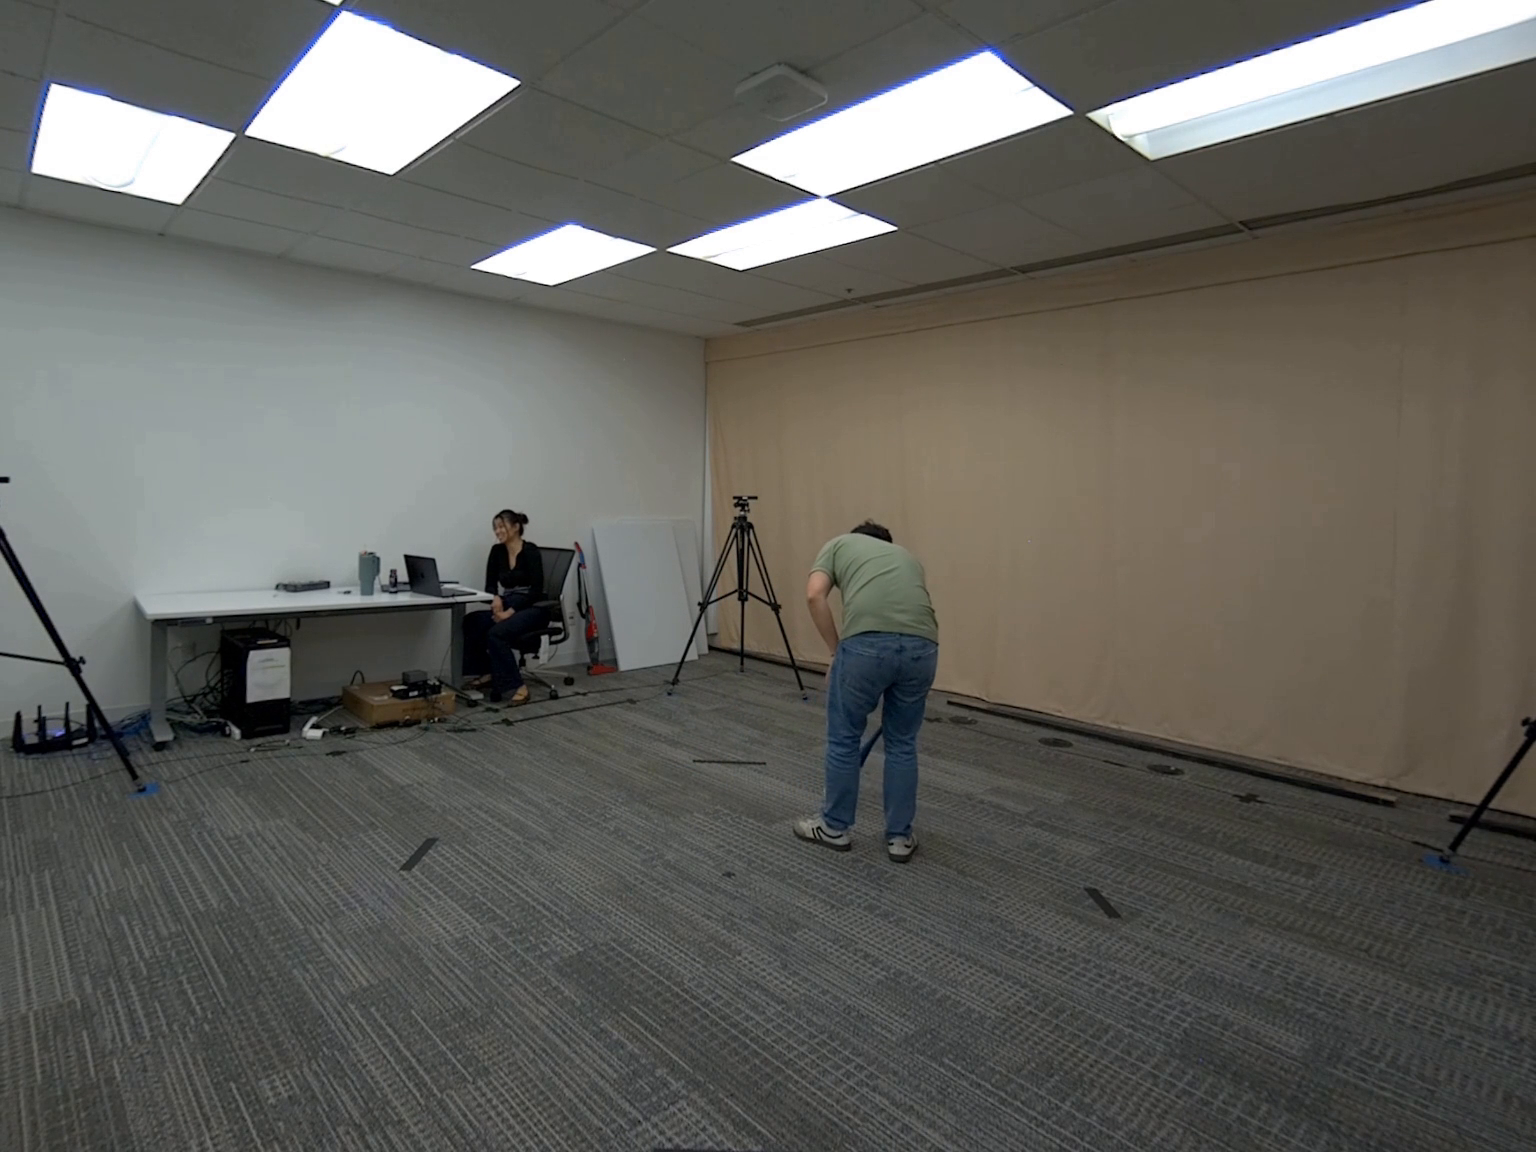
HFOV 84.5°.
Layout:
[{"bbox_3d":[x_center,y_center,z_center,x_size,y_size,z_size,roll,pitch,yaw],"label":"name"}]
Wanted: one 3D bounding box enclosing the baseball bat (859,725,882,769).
[{"bbox_3d":[0.404,0.823,3.786,0.088,0.540,0.091,23,28,-15],"label":"baseball bat"}]
